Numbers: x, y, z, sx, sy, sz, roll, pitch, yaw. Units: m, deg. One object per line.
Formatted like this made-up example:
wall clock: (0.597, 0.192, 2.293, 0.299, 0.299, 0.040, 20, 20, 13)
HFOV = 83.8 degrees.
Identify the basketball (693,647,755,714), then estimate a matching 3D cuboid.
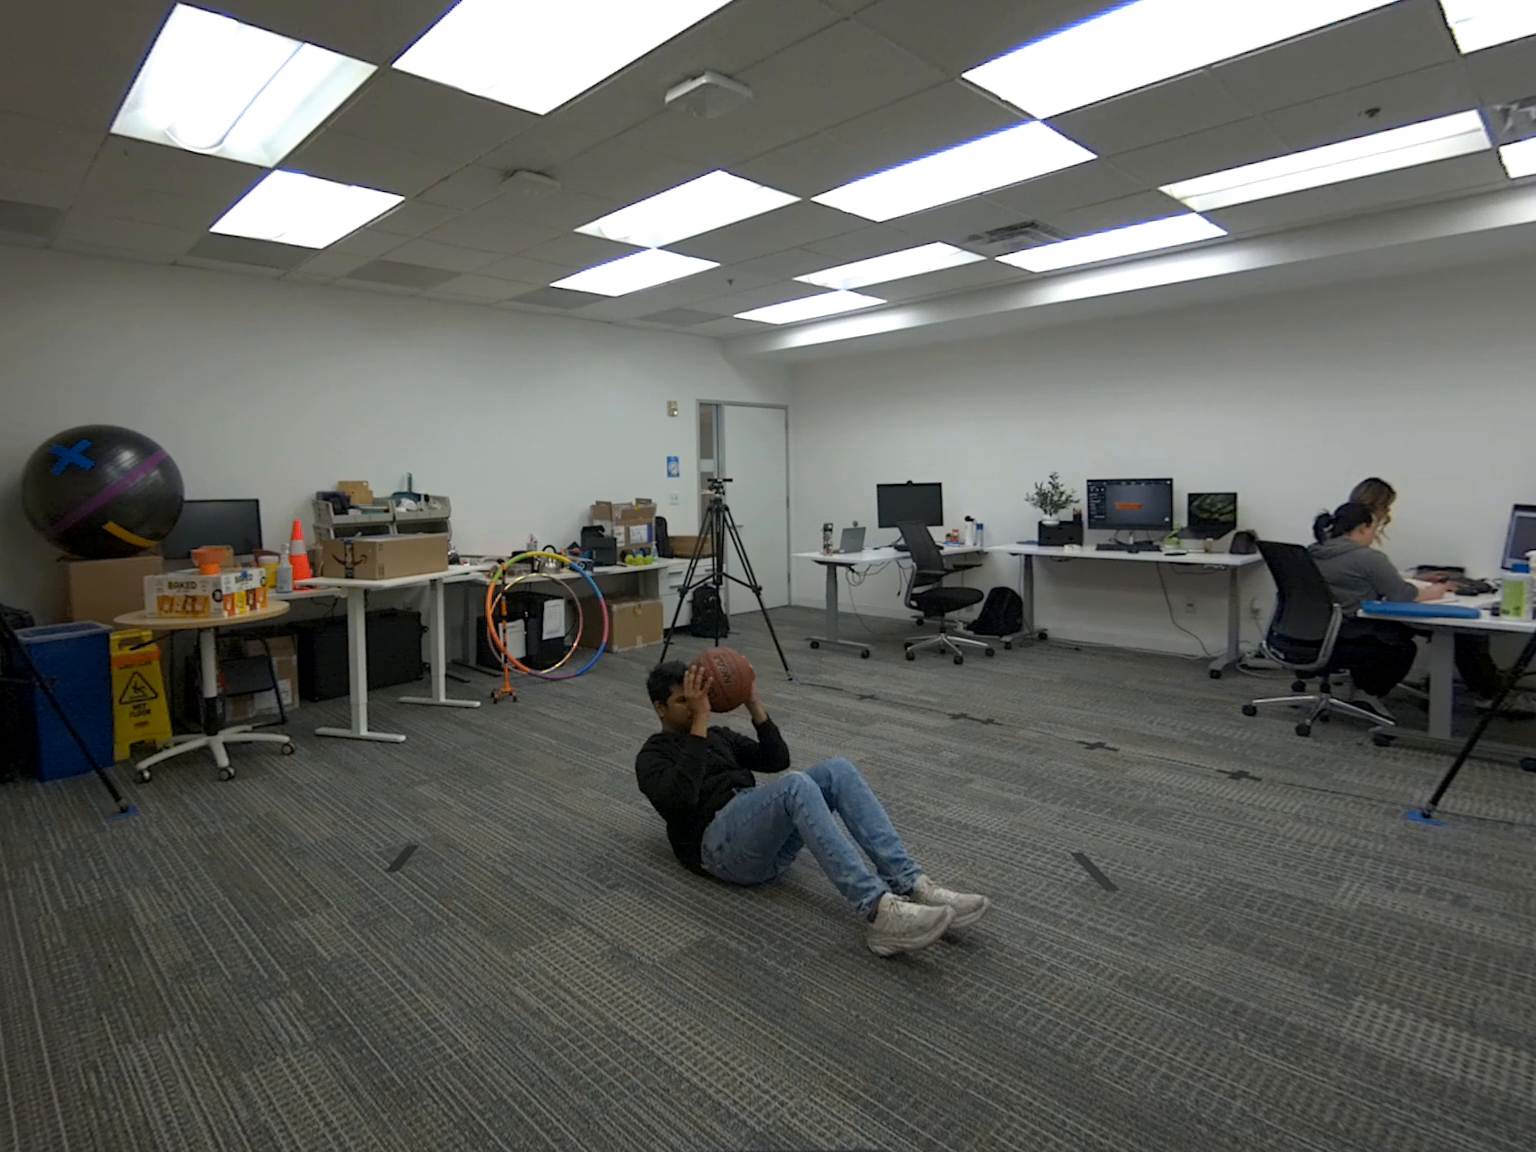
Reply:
basketball: (-0.182, 0.384, 3.125, 0.236, 0.235, 0.237, -1, 5, -2)
